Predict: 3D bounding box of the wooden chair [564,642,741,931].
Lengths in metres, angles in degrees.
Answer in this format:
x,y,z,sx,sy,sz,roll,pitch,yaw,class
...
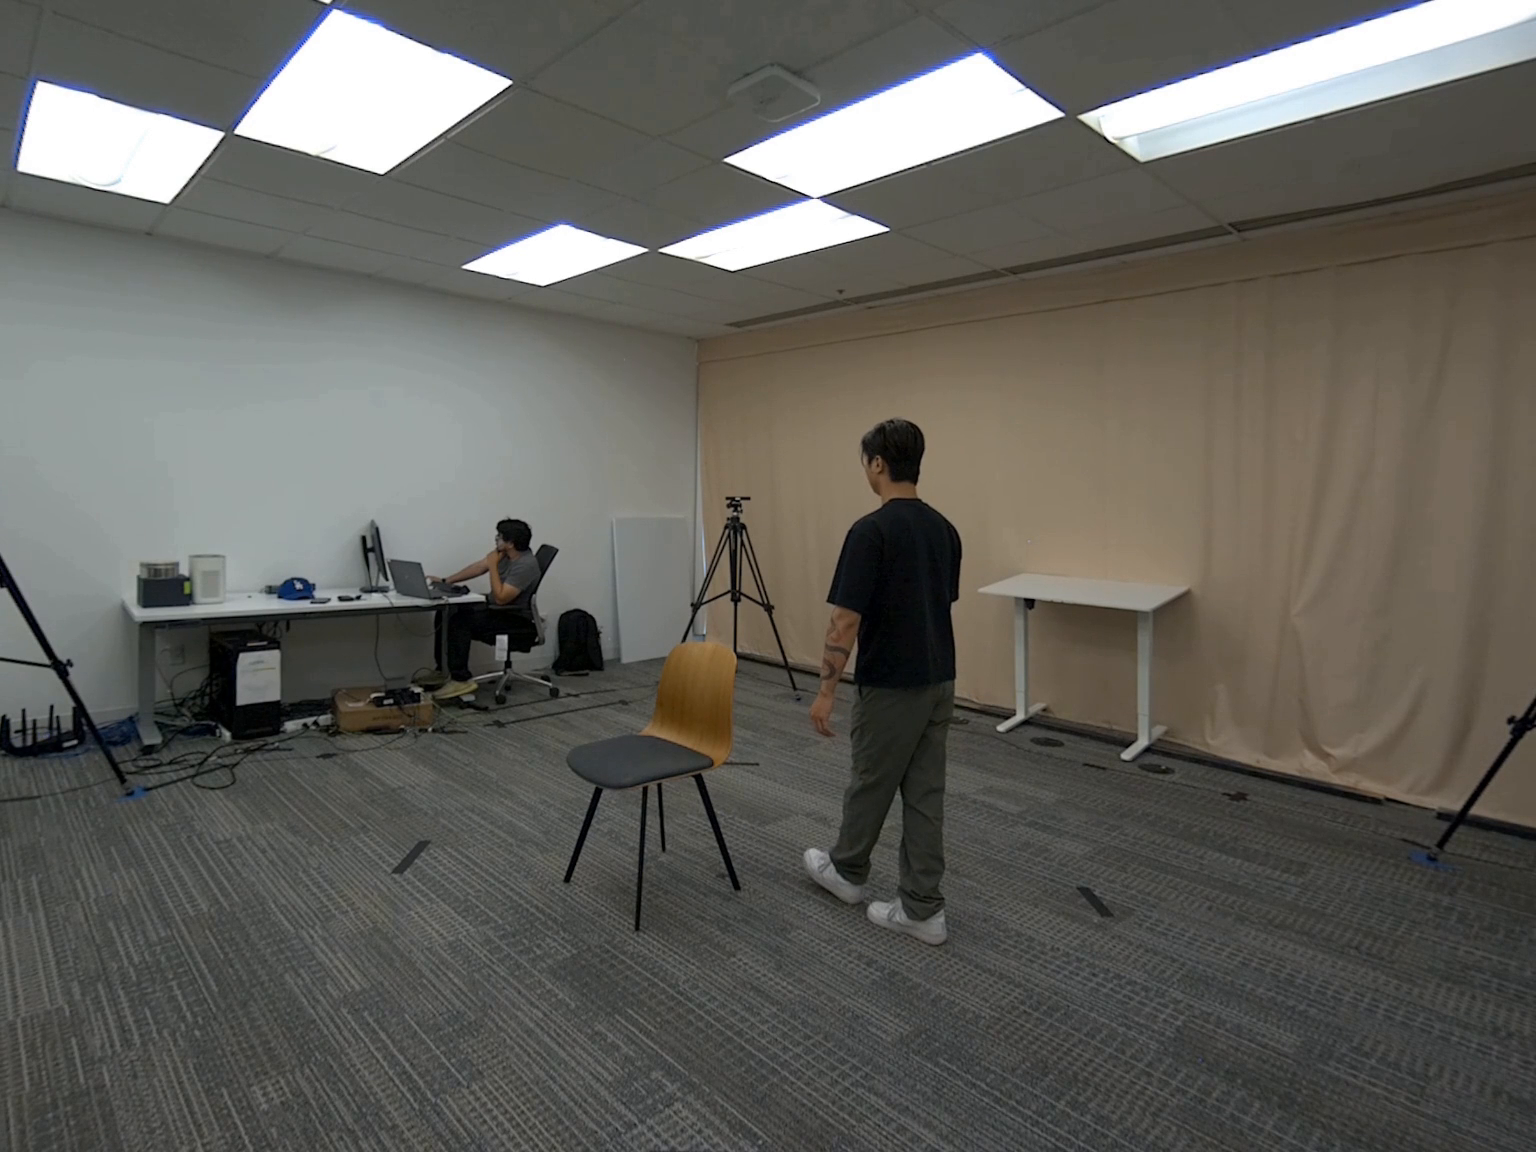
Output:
x,y,z,sx,sy,sz,roll,pitch,yaw,class
-0.430,0.692,2.973,0.510,0.877,0.490,3,1,-43,wooden chair
